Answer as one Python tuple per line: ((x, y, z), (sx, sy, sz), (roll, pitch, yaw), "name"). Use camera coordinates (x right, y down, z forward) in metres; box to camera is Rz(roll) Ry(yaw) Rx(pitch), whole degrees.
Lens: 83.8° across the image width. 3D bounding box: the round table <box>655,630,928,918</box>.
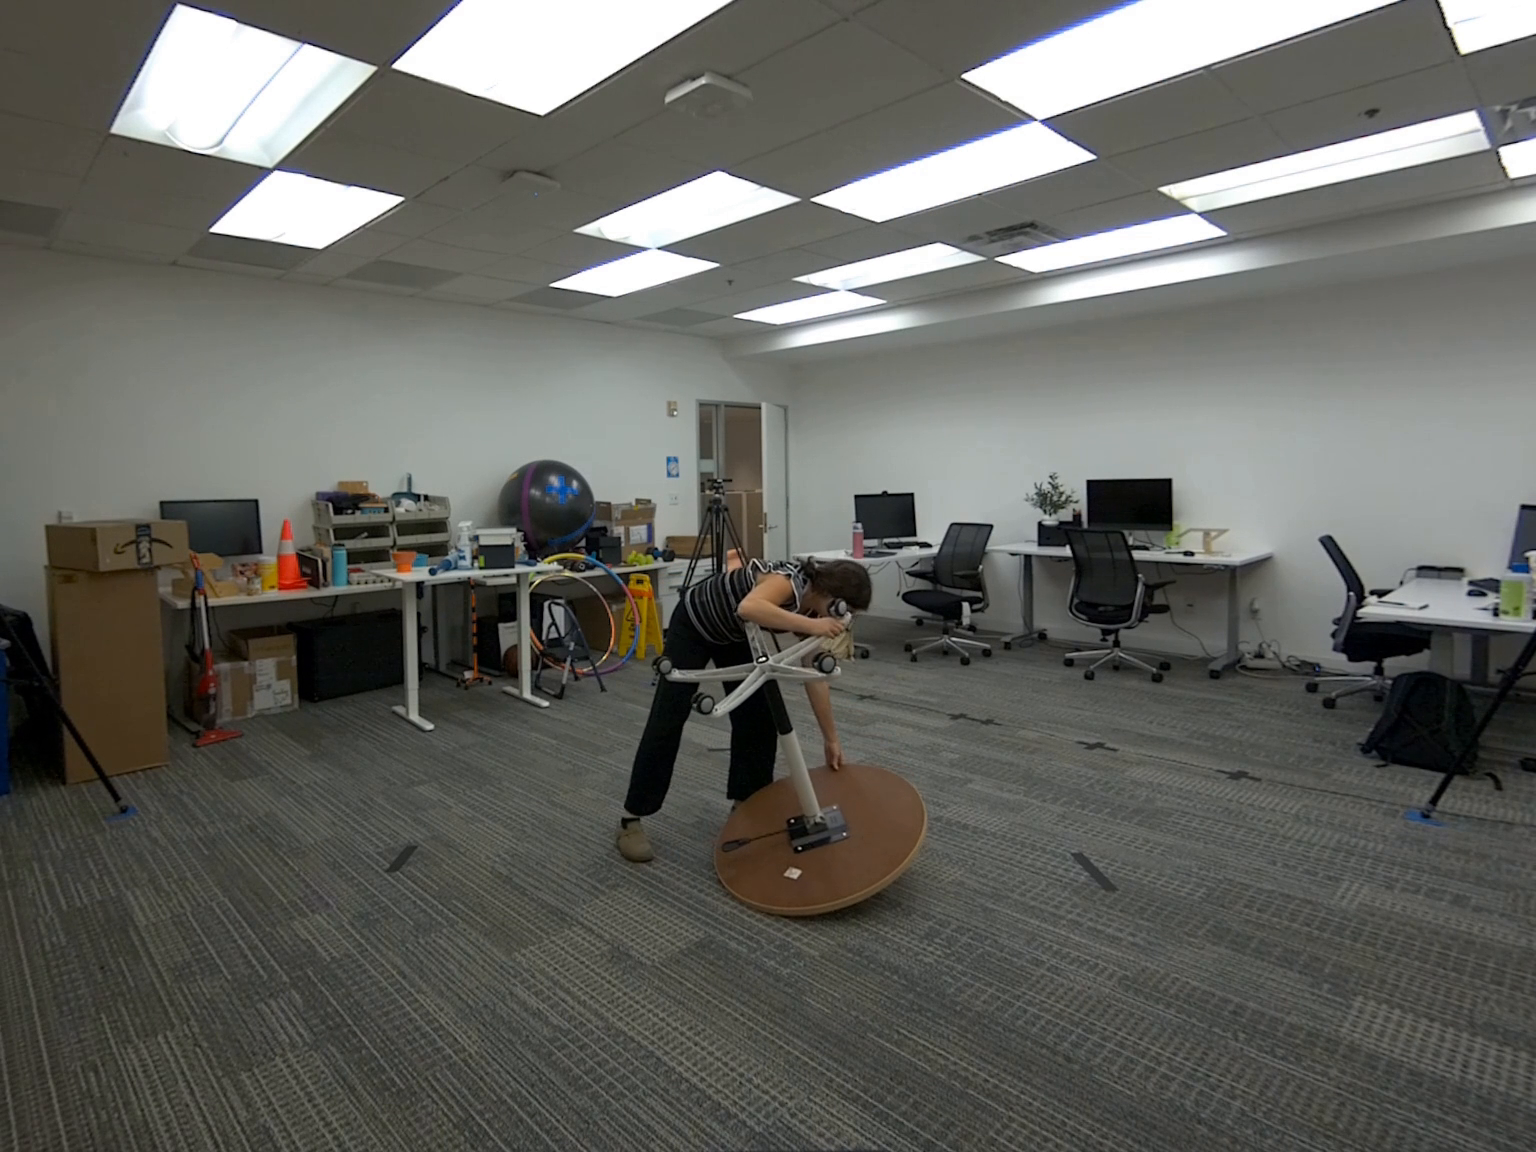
((0.074, 0.561, 2.930), (0.766, 0.779, 0.776), (-16, 17, 3), "round table")
